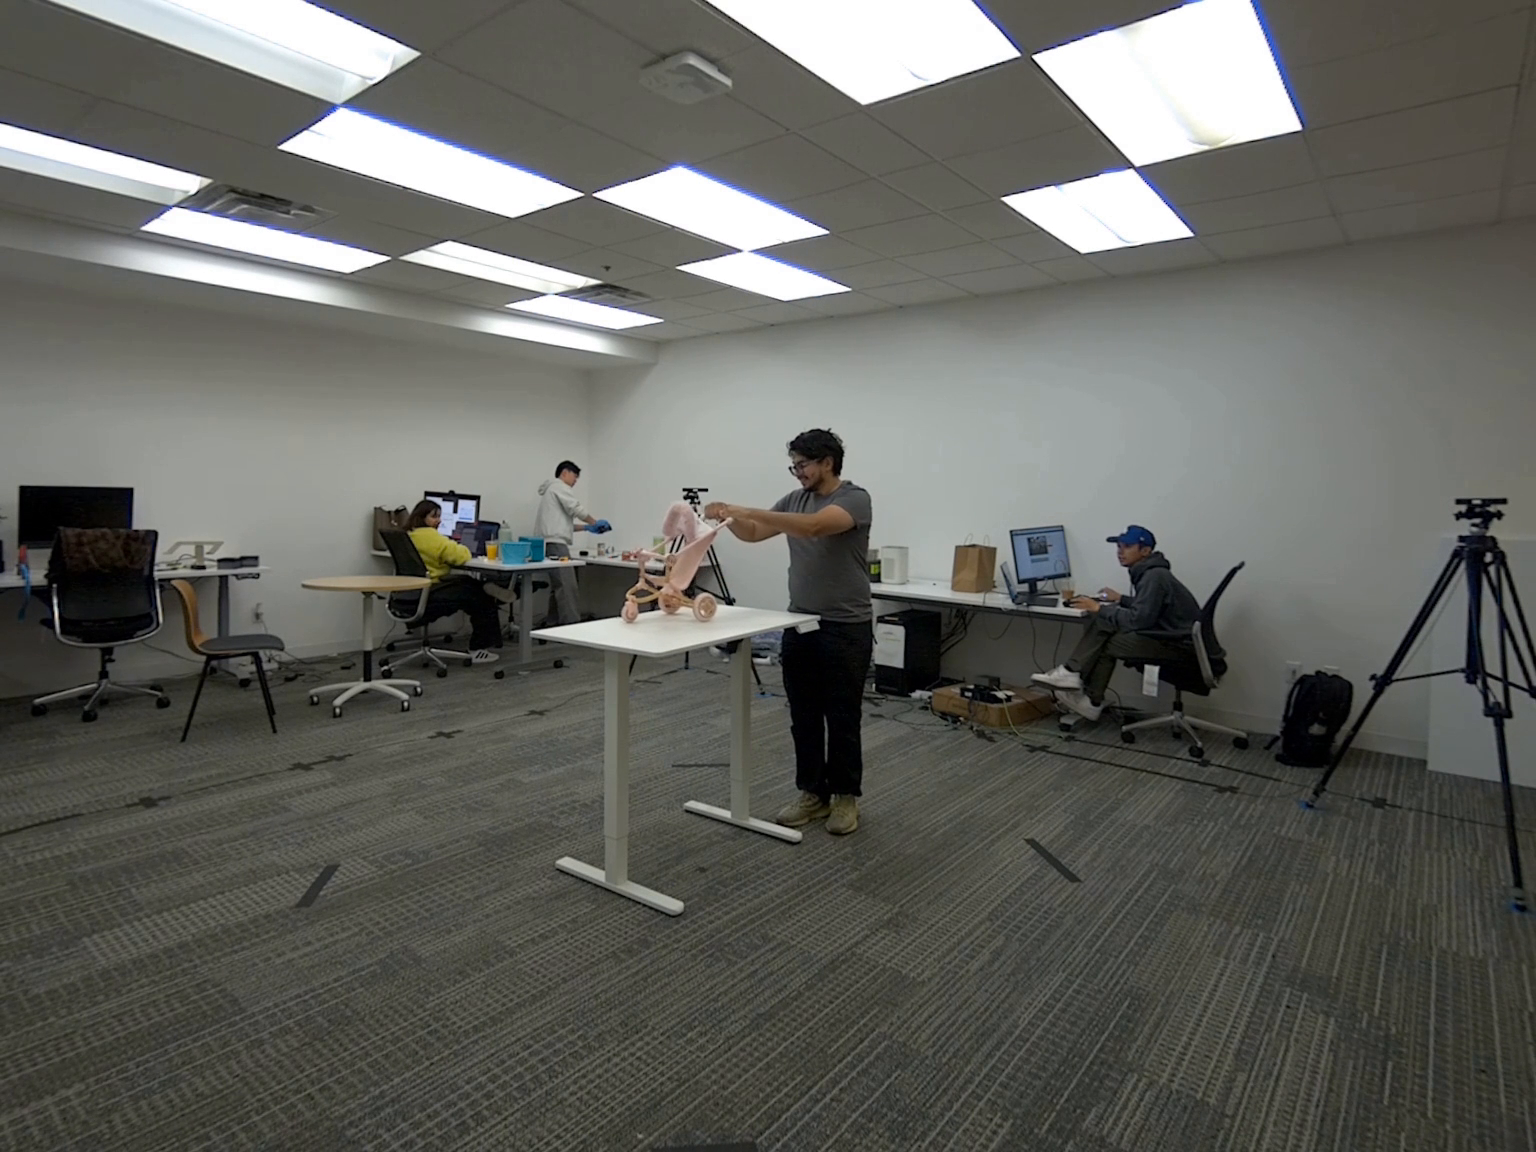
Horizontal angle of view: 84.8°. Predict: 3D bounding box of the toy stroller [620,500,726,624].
[{"bbox_3d":[-0.371,-0.057,3.306,0.330,0.537,0.290,16,-5,-31],"label":"toy stroller"}]
